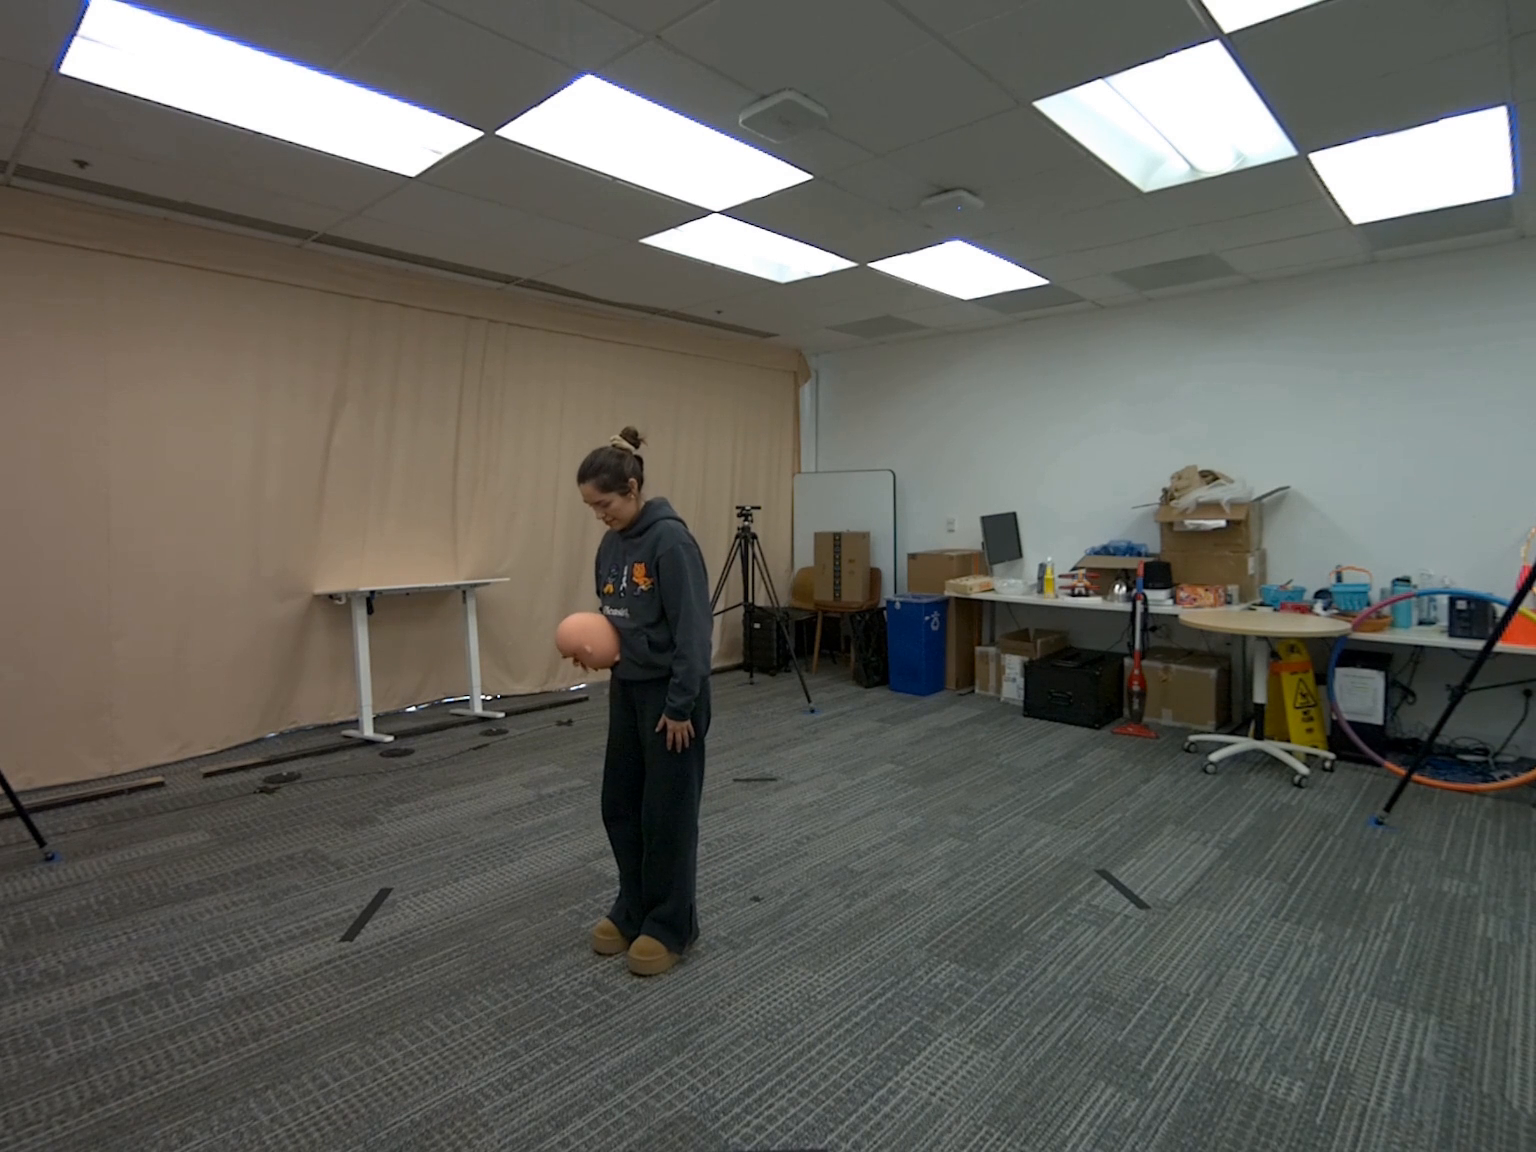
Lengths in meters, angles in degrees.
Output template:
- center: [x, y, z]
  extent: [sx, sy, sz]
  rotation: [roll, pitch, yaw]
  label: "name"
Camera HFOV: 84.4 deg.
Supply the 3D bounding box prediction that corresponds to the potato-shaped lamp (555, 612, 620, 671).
- center: [-0.547, 0.202, 2.617]
  extent: [0.194, 0.173, 0.166]
  rotation: [13, -26, -20]
  label: "potato-shaped lamp"
